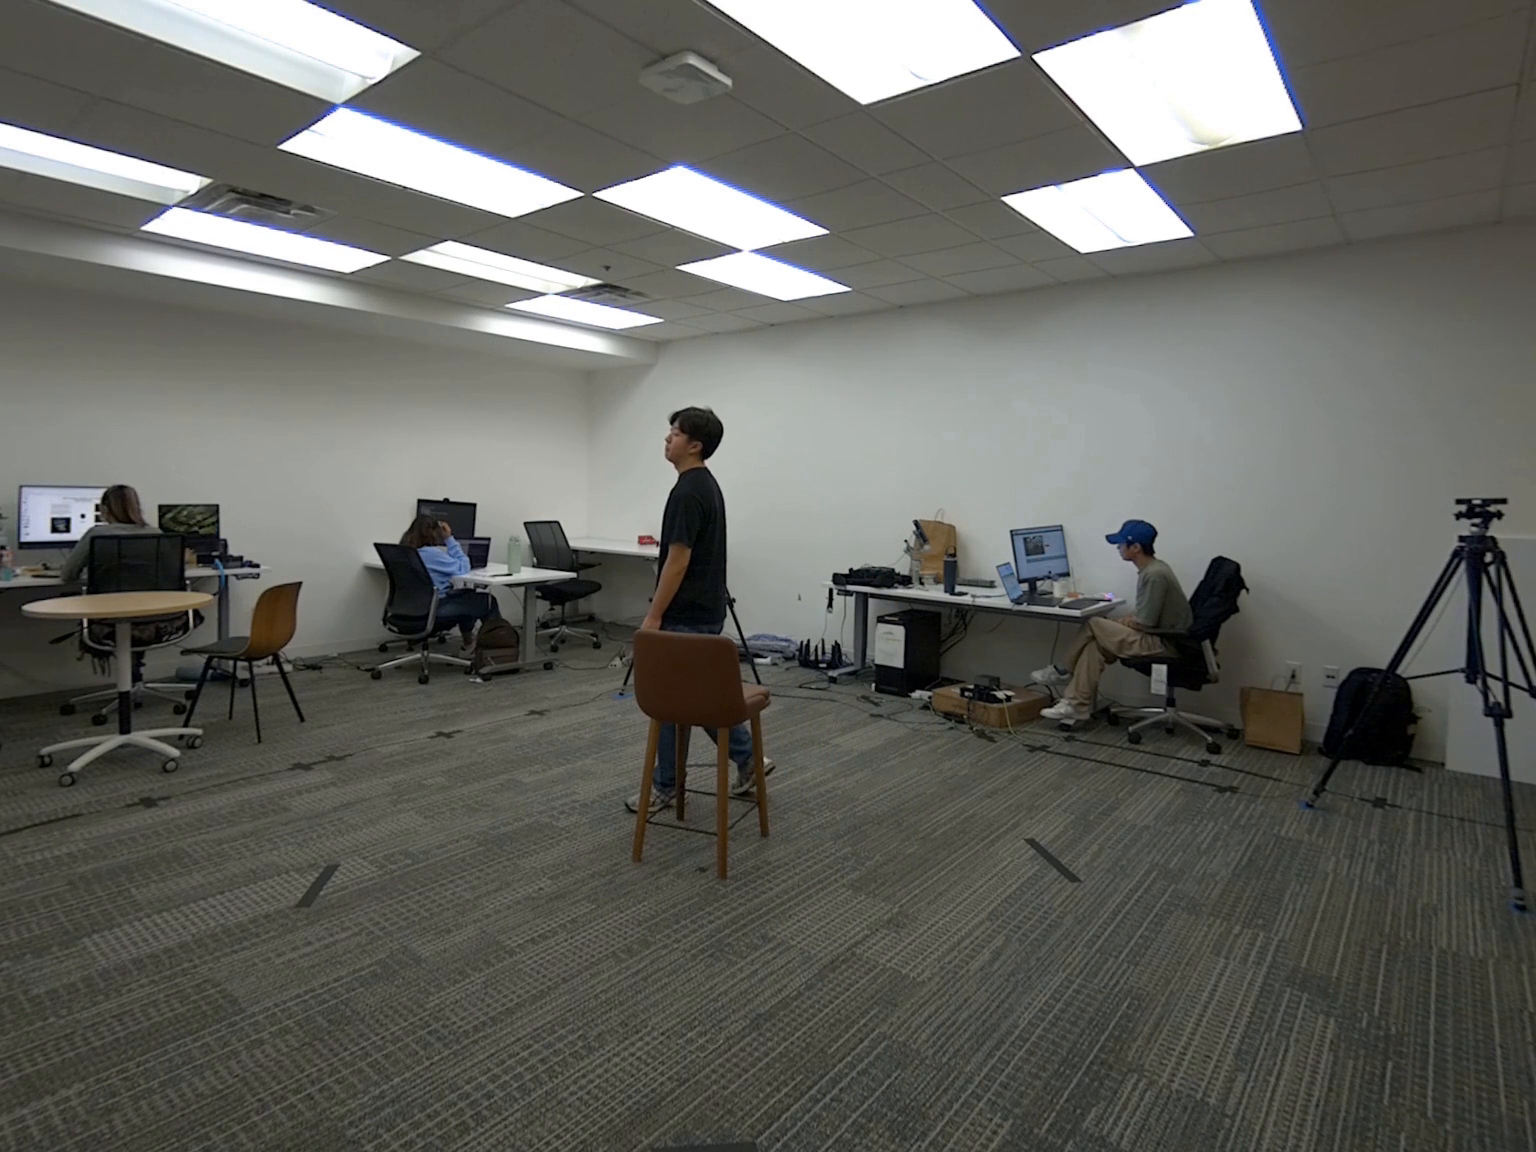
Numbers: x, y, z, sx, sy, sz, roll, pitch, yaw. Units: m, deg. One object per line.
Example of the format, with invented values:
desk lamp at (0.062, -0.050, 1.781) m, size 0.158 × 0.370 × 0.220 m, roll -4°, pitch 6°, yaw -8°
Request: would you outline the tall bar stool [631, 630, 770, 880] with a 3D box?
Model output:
tall bar stool at (-0.264, 0.616, 3.282) m, size 0.467 × 0.886 × 0.459 m, roll 2°, pitch 5°, yaw 22°
